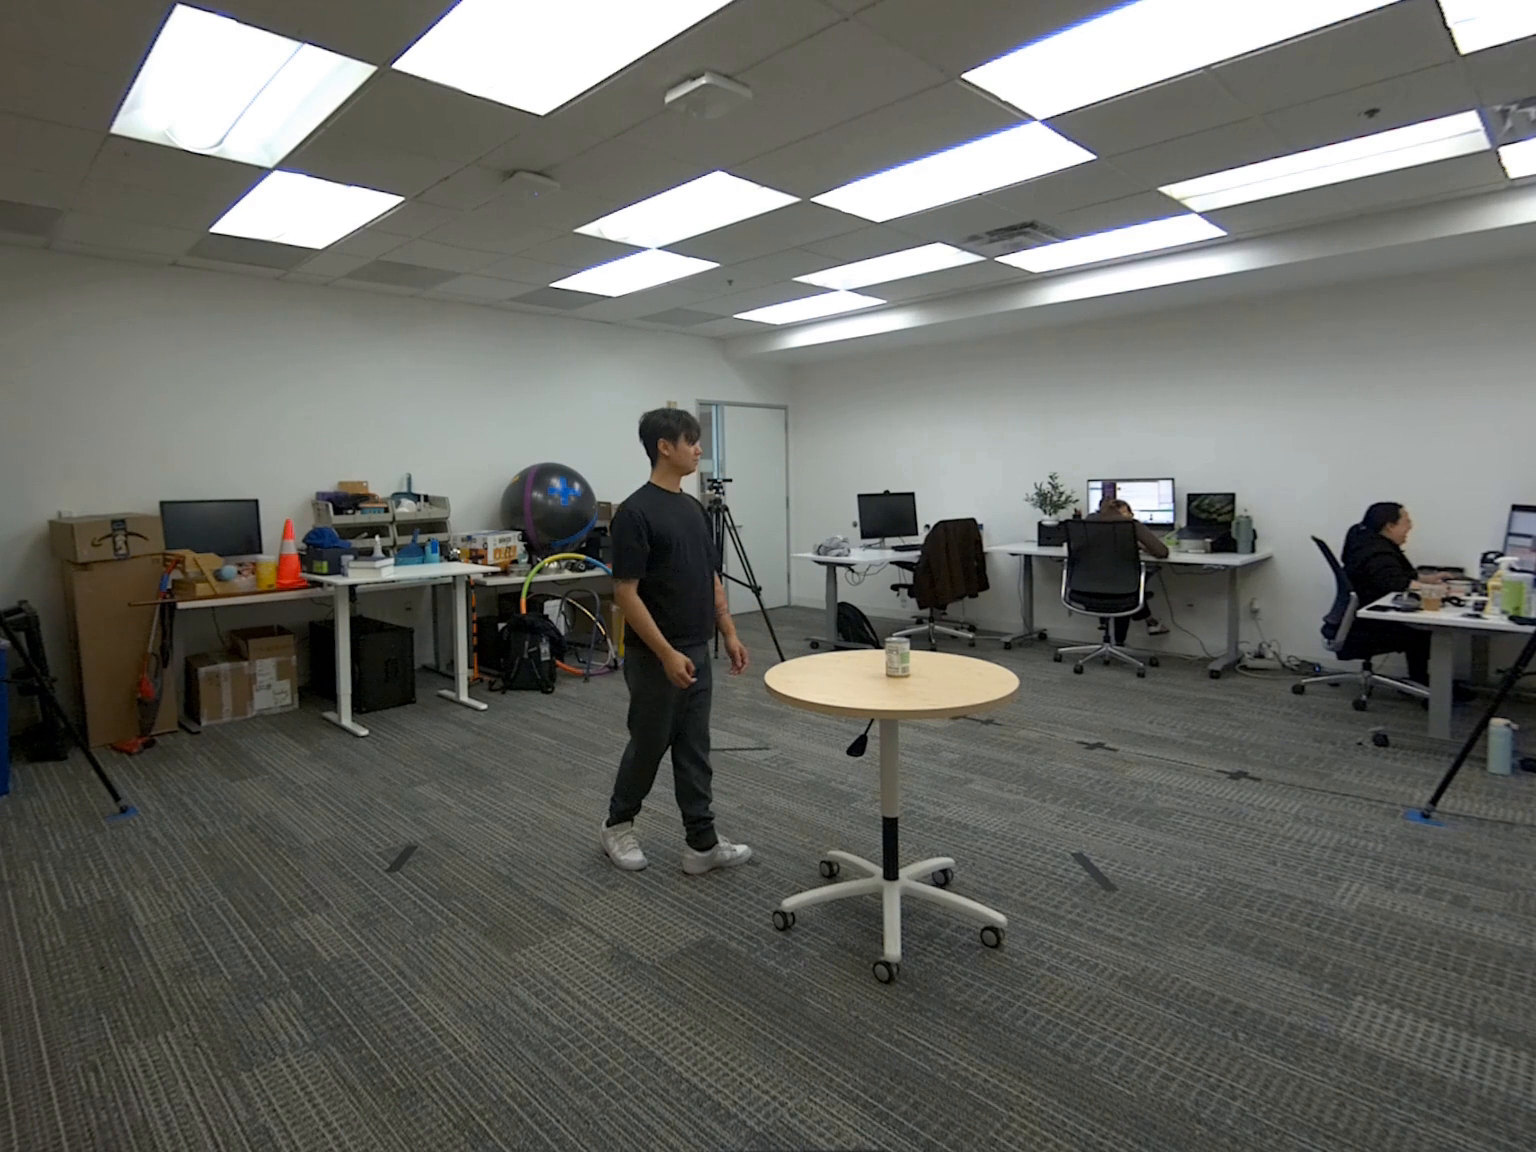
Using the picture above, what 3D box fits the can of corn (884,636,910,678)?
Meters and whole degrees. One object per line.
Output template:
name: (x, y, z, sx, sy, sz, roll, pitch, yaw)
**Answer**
can of corn: (0.398, 0.249, 2.632, 0.074, 0.110, 0.075, -1, 9, -1)
